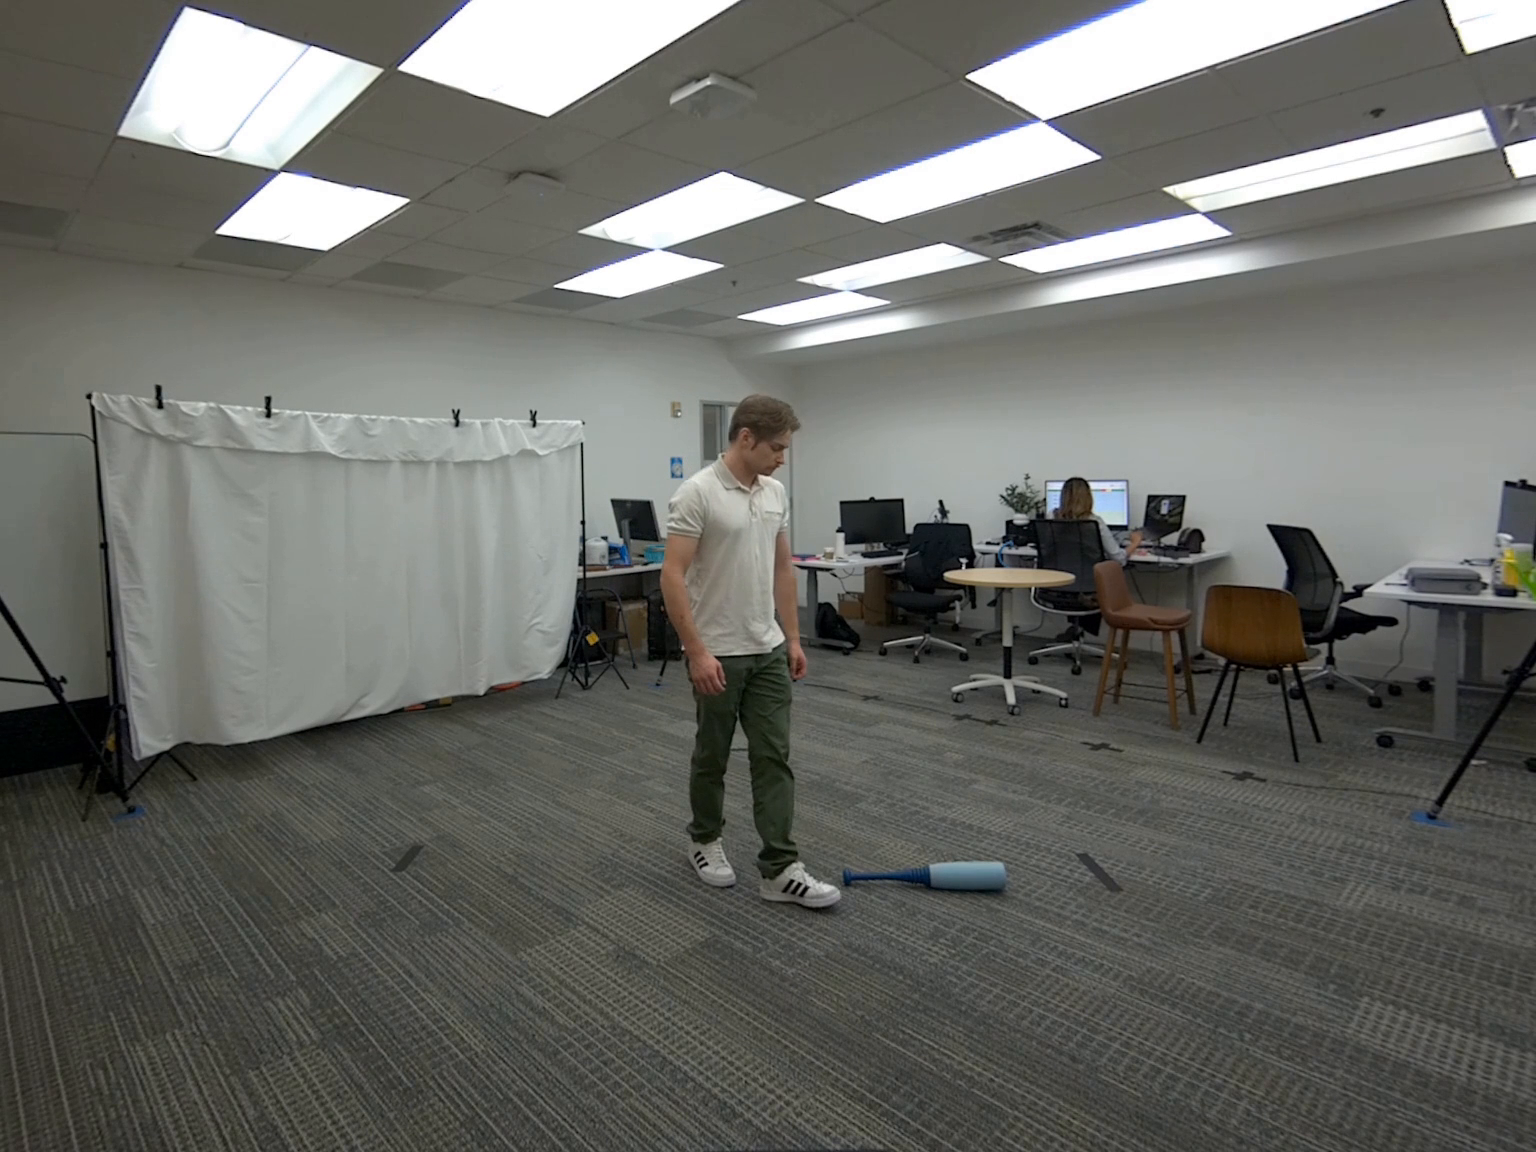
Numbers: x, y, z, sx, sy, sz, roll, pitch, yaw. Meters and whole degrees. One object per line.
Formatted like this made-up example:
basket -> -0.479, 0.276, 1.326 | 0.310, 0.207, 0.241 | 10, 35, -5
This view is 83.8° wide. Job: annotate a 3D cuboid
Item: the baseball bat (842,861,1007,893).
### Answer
baseball bat -> 0.530, 1.022, 2.905 | 0.547, 0.089, 0.089 | -4, 4, 7
